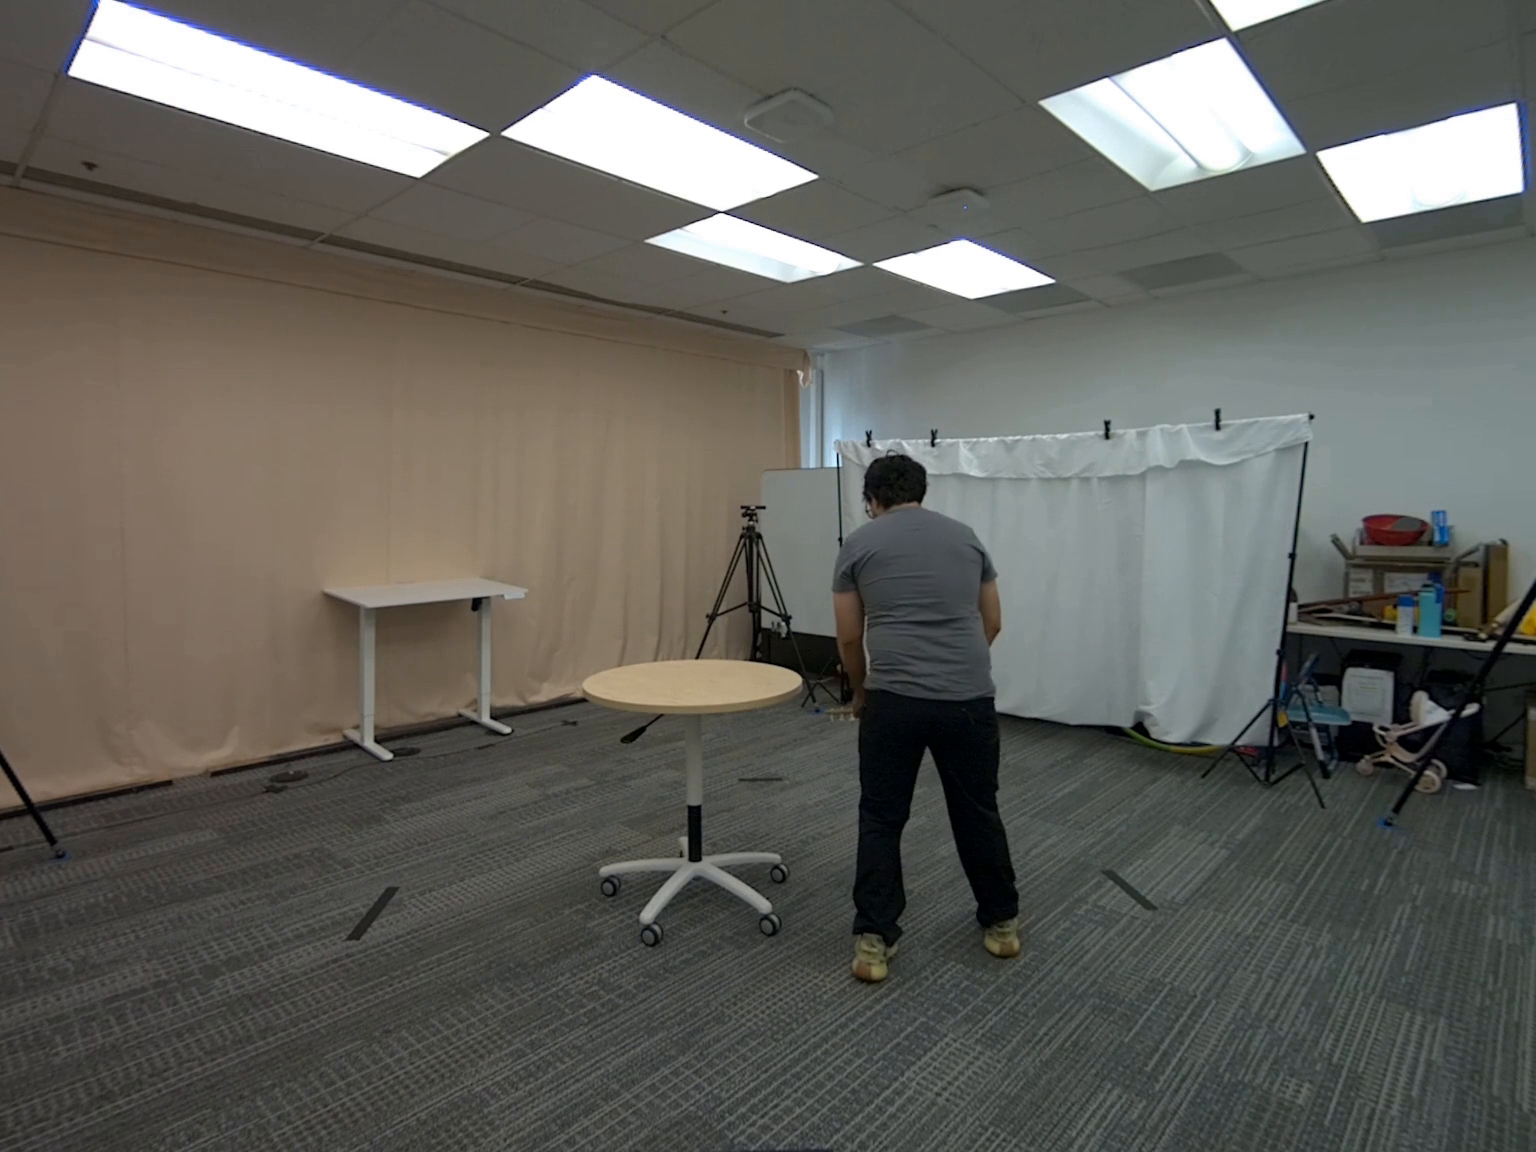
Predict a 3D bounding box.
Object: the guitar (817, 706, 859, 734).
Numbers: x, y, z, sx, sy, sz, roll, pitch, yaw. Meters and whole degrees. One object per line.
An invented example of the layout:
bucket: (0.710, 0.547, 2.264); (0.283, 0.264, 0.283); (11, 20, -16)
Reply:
guitar: (0.436, 0.474, 2.862); (0.510, 0.071, 0.186); (-11, -18, 30)
